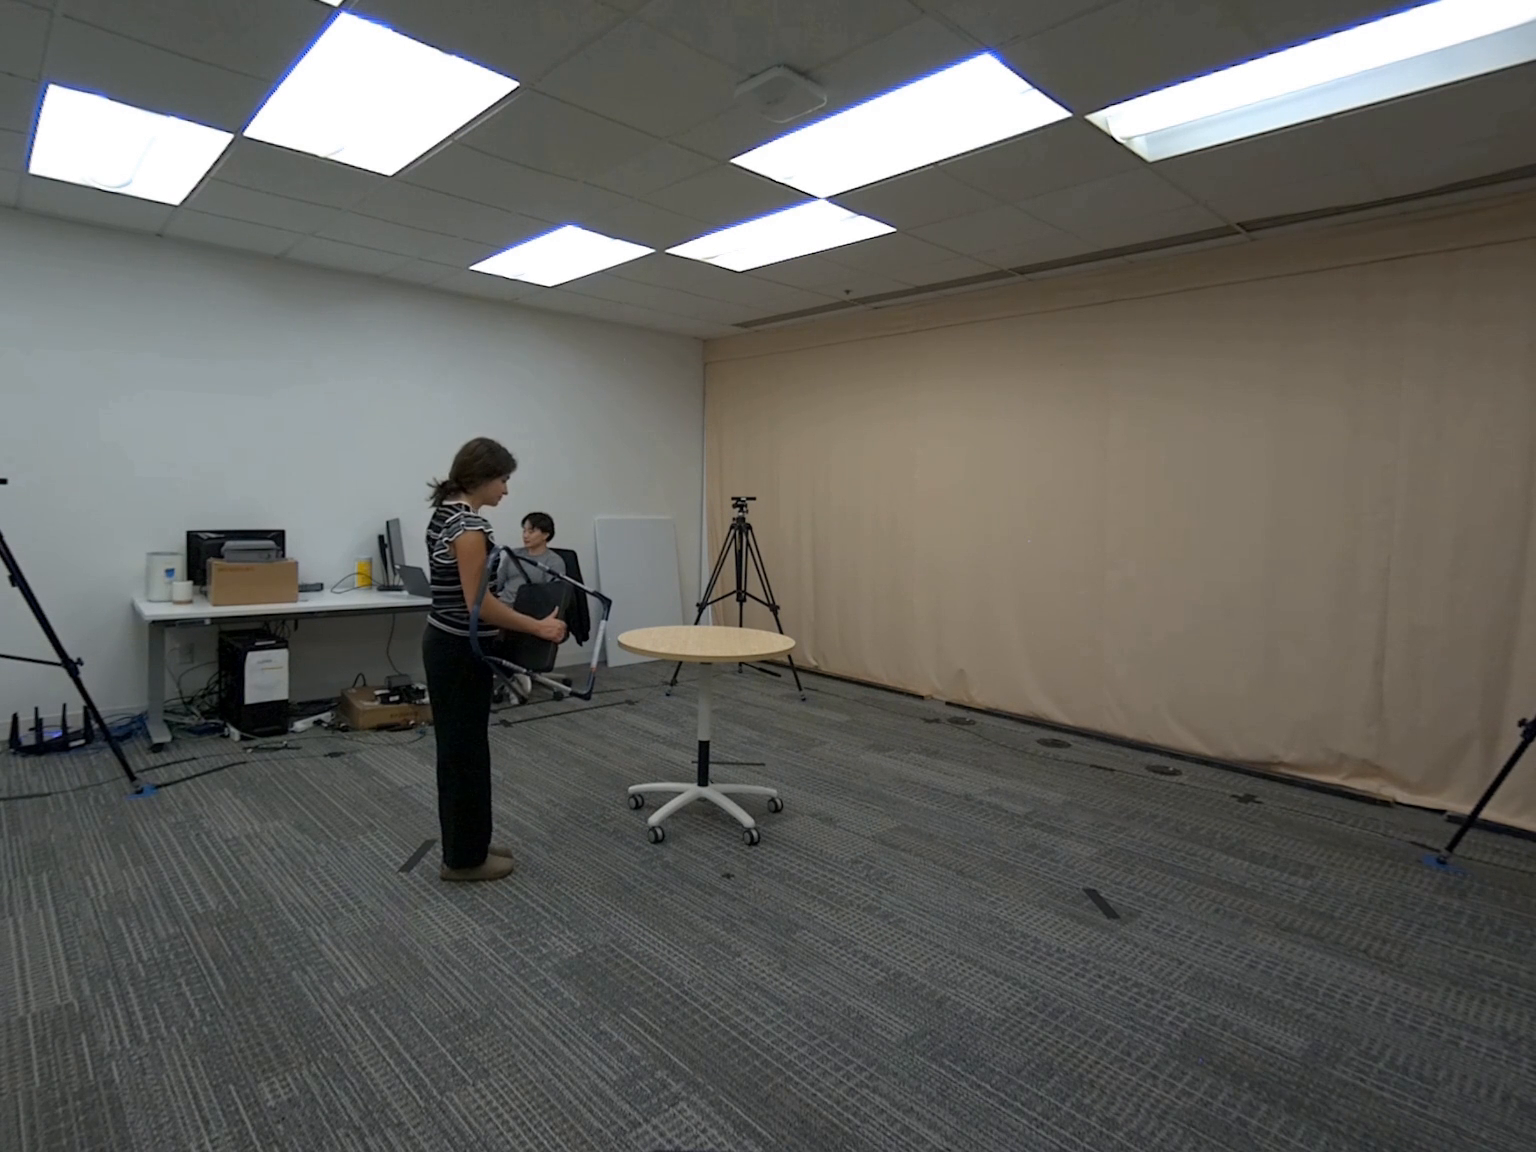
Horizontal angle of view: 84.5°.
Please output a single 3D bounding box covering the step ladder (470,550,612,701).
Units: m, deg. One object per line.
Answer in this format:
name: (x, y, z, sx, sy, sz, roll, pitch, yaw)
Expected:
step ladder: (-0.912, 0.166, 3.070, 0.355, 0.437, 0.587, -6, -29, 24)
